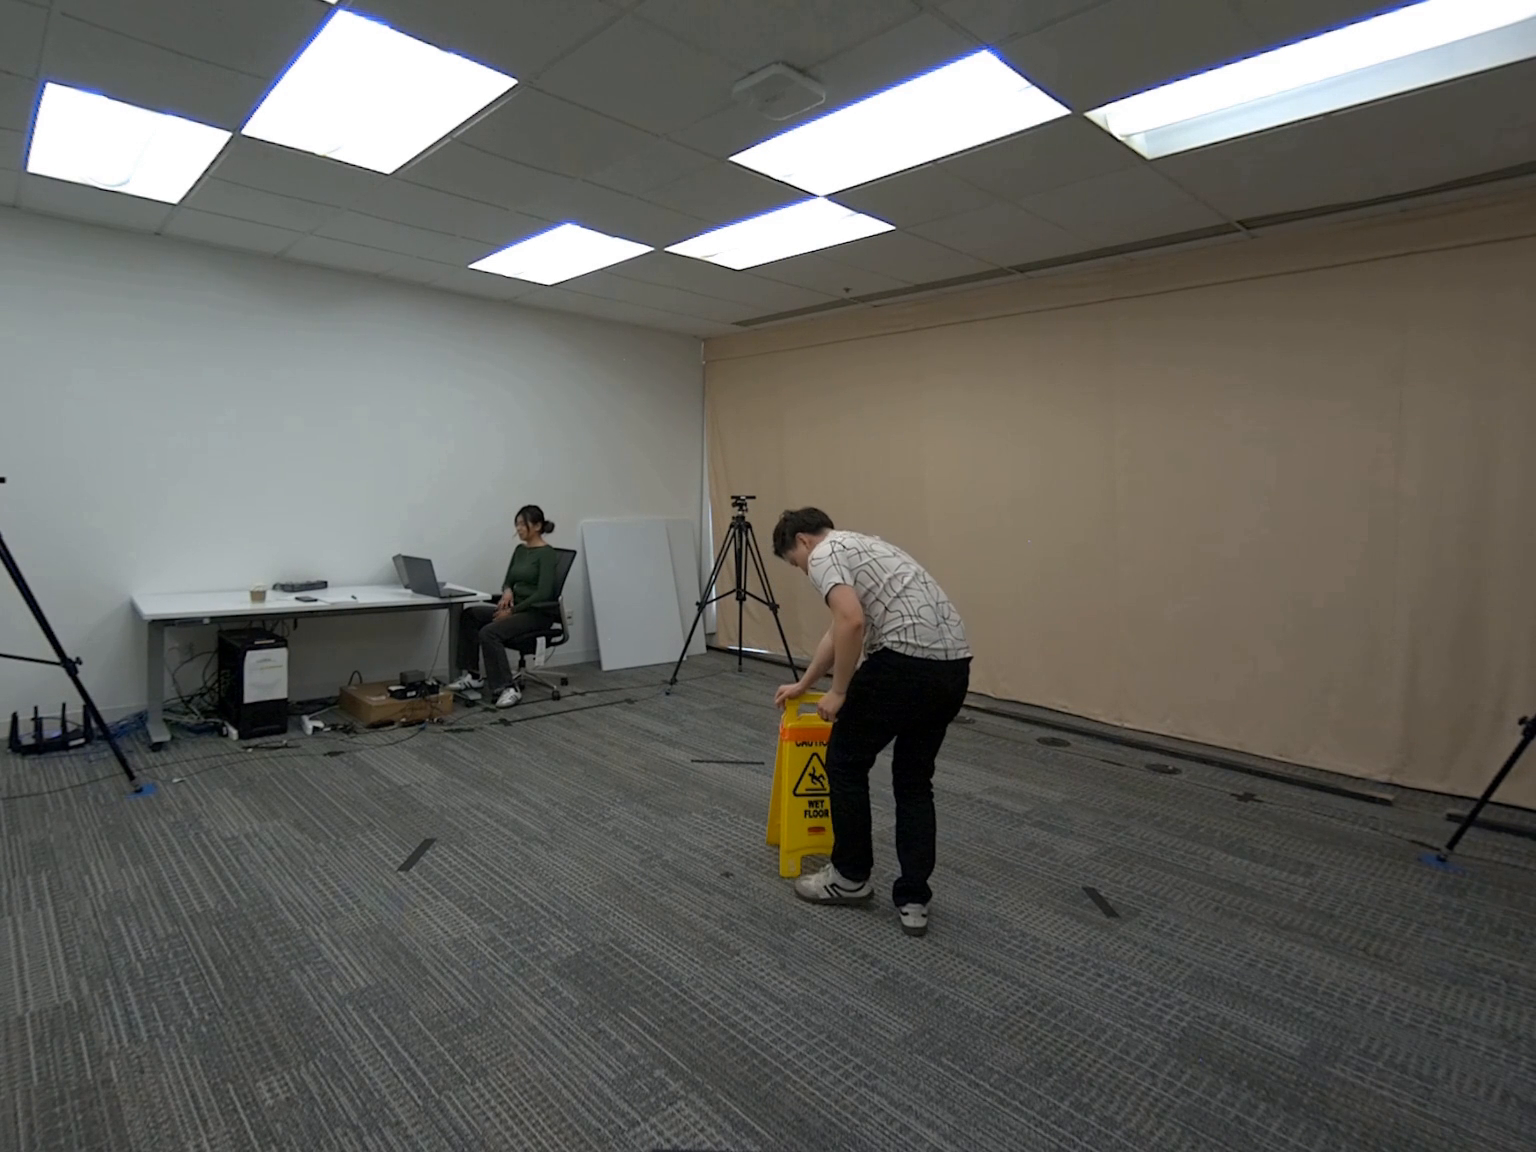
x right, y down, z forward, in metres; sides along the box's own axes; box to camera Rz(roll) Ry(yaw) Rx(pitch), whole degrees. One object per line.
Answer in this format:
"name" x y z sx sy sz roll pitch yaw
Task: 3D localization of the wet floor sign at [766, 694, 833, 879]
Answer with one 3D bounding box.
"wet floor sign" 0.154 0.770 3.245 0.280 0.645 0.292 2 3 -9
